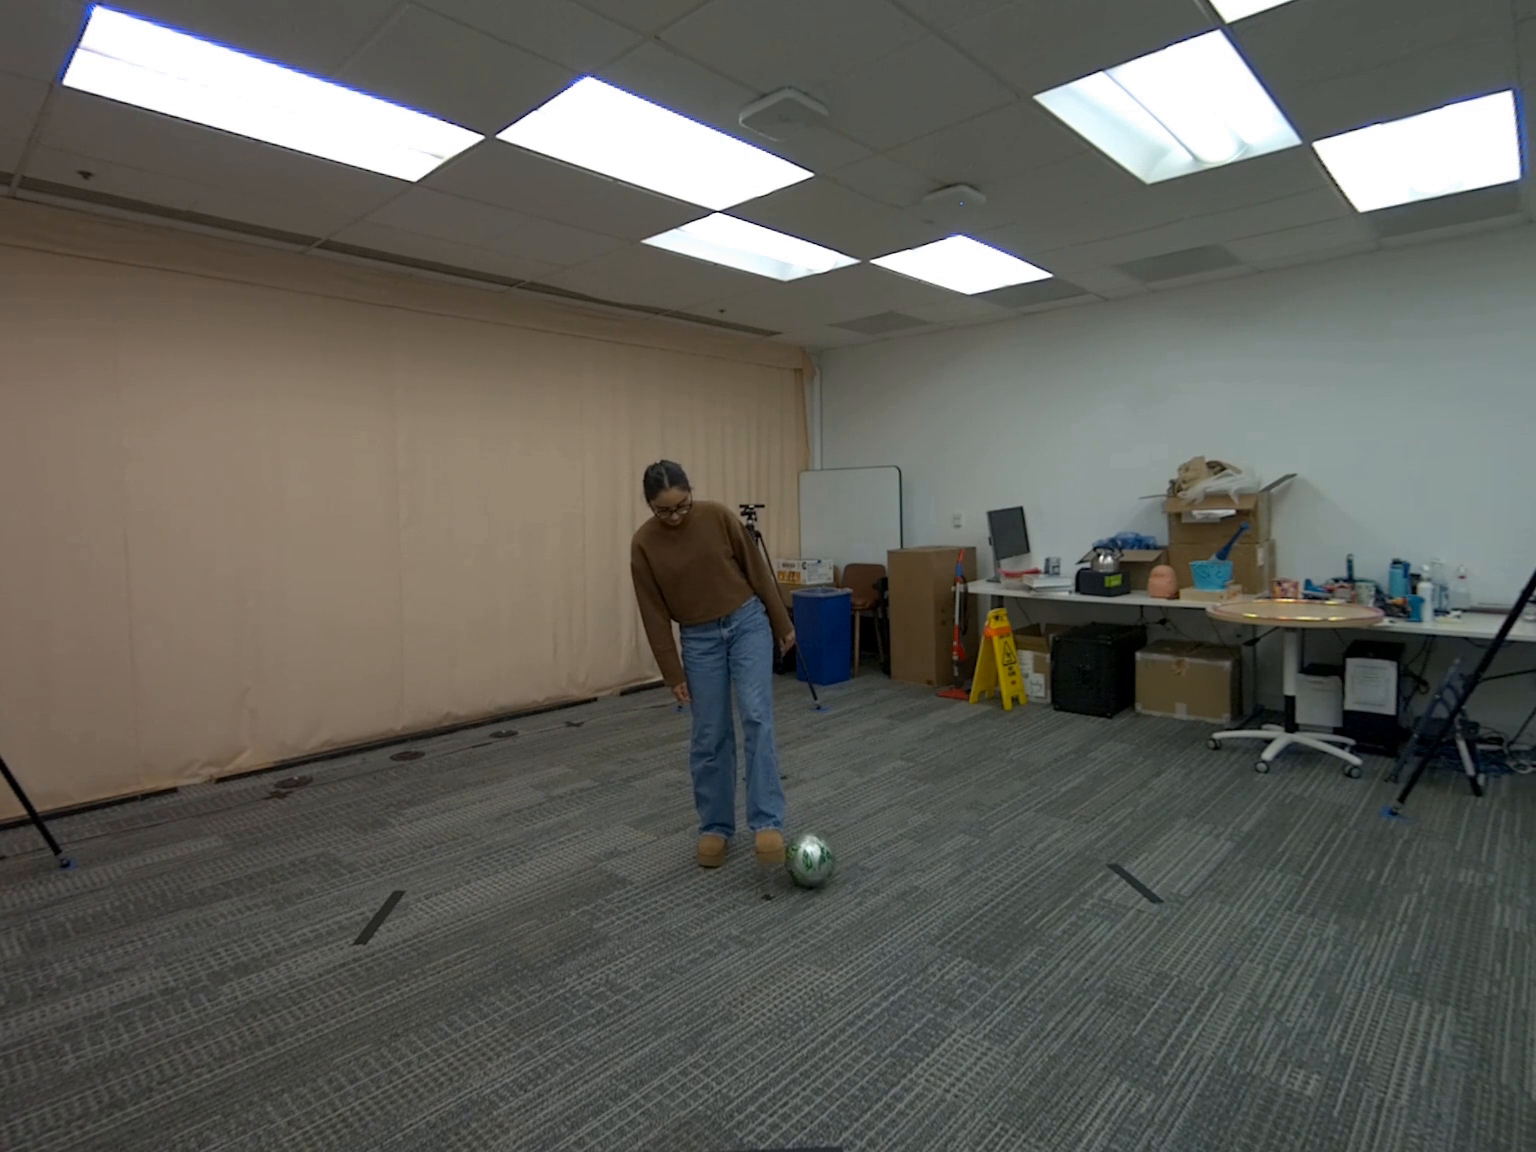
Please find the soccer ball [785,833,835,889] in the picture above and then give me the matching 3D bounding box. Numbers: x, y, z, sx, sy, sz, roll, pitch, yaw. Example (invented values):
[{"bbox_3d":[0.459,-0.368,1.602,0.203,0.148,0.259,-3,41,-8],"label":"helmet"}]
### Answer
[{"bbox_3d":[0.155,1.037,3.063,0.187,0.187,0.188,-1,4,-2],"label":"soccer ball"}]
